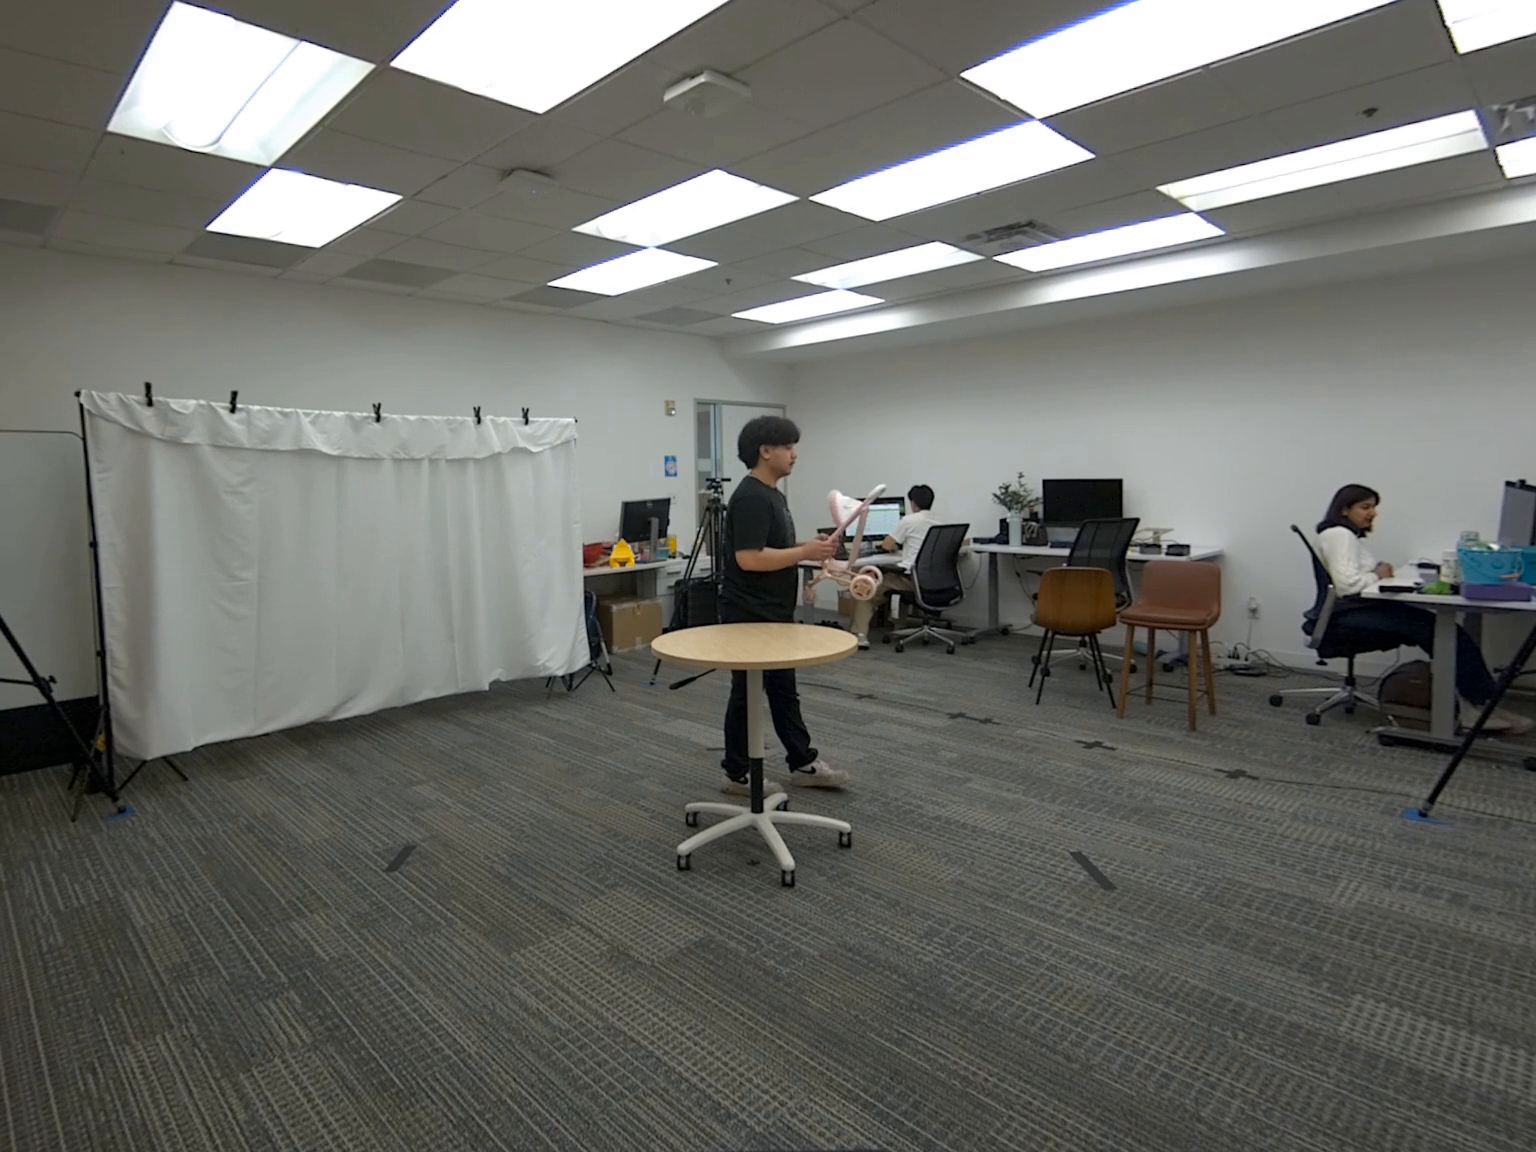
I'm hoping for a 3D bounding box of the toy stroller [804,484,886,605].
[{"bbox_3d":[0.322,-0.133,3.674,0.348,0.531,0.278,5,9,19],"label":"toy stroller"}]
